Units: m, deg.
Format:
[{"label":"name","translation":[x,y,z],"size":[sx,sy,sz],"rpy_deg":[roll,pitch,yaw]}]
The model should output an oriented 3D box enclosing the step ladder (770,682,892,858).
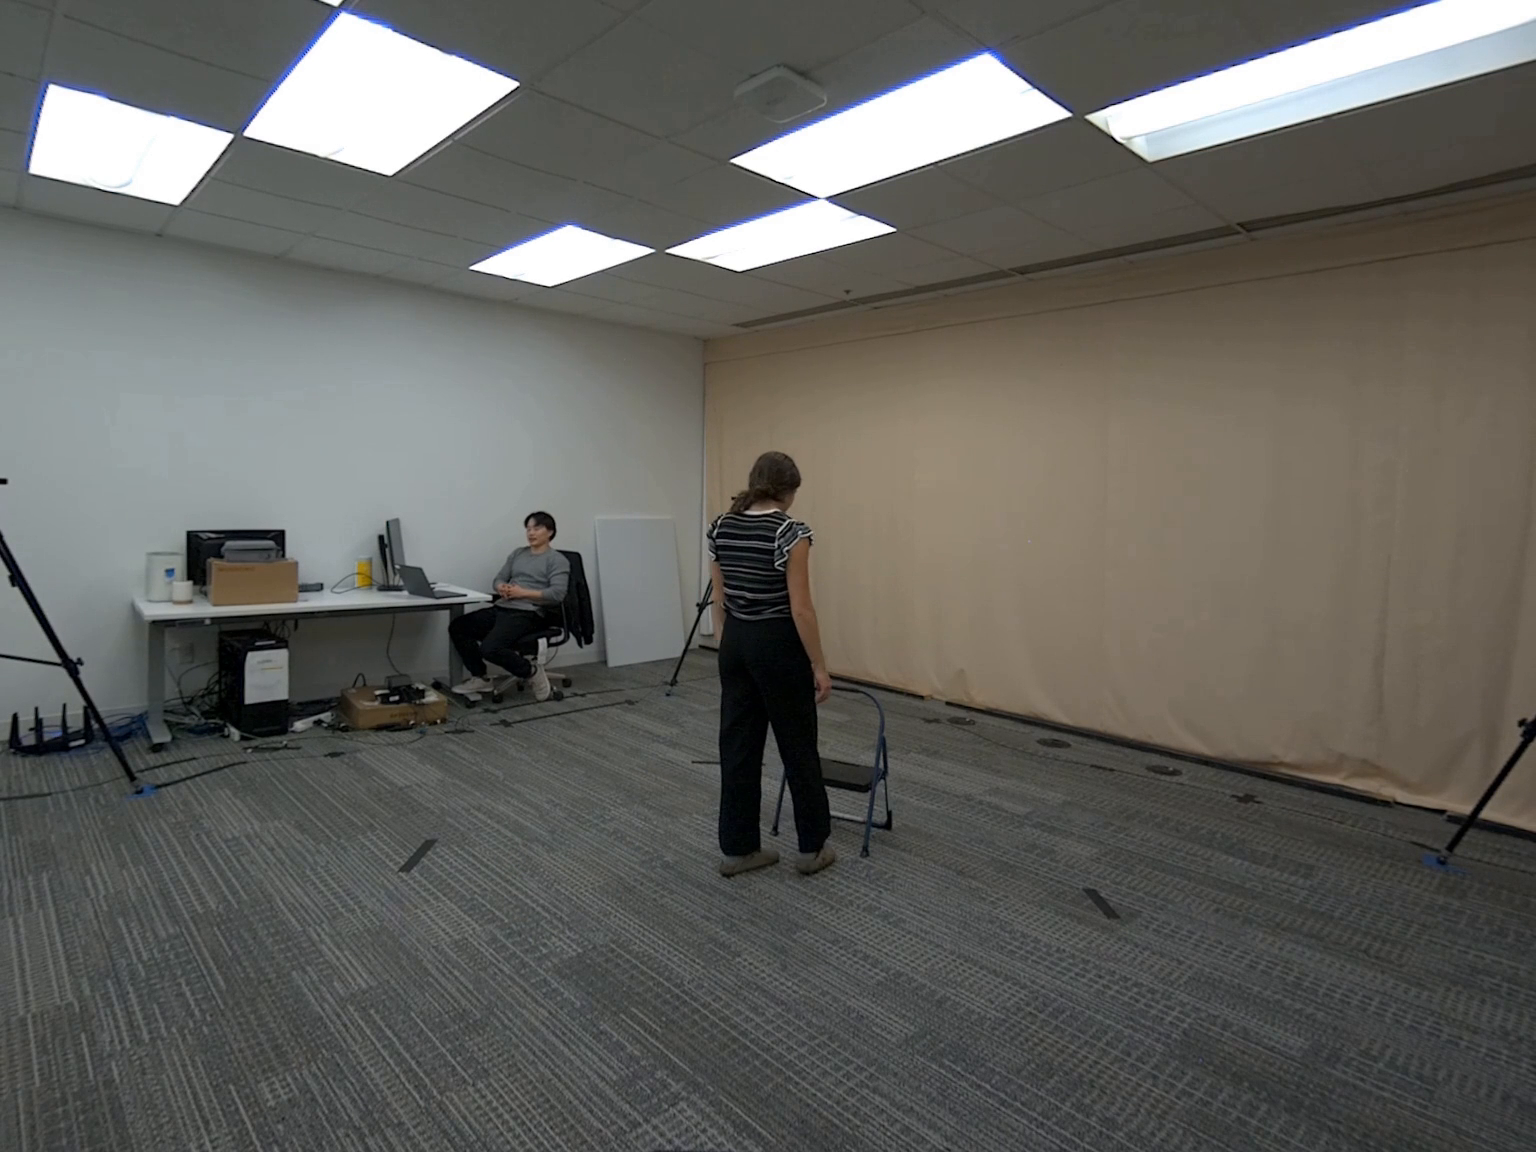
[{"label":"step ladder","translation":[0.276,0.778,3.535],"size":[0.439,0.605,0.343],"rpy_deg":[4,4,28]}]
